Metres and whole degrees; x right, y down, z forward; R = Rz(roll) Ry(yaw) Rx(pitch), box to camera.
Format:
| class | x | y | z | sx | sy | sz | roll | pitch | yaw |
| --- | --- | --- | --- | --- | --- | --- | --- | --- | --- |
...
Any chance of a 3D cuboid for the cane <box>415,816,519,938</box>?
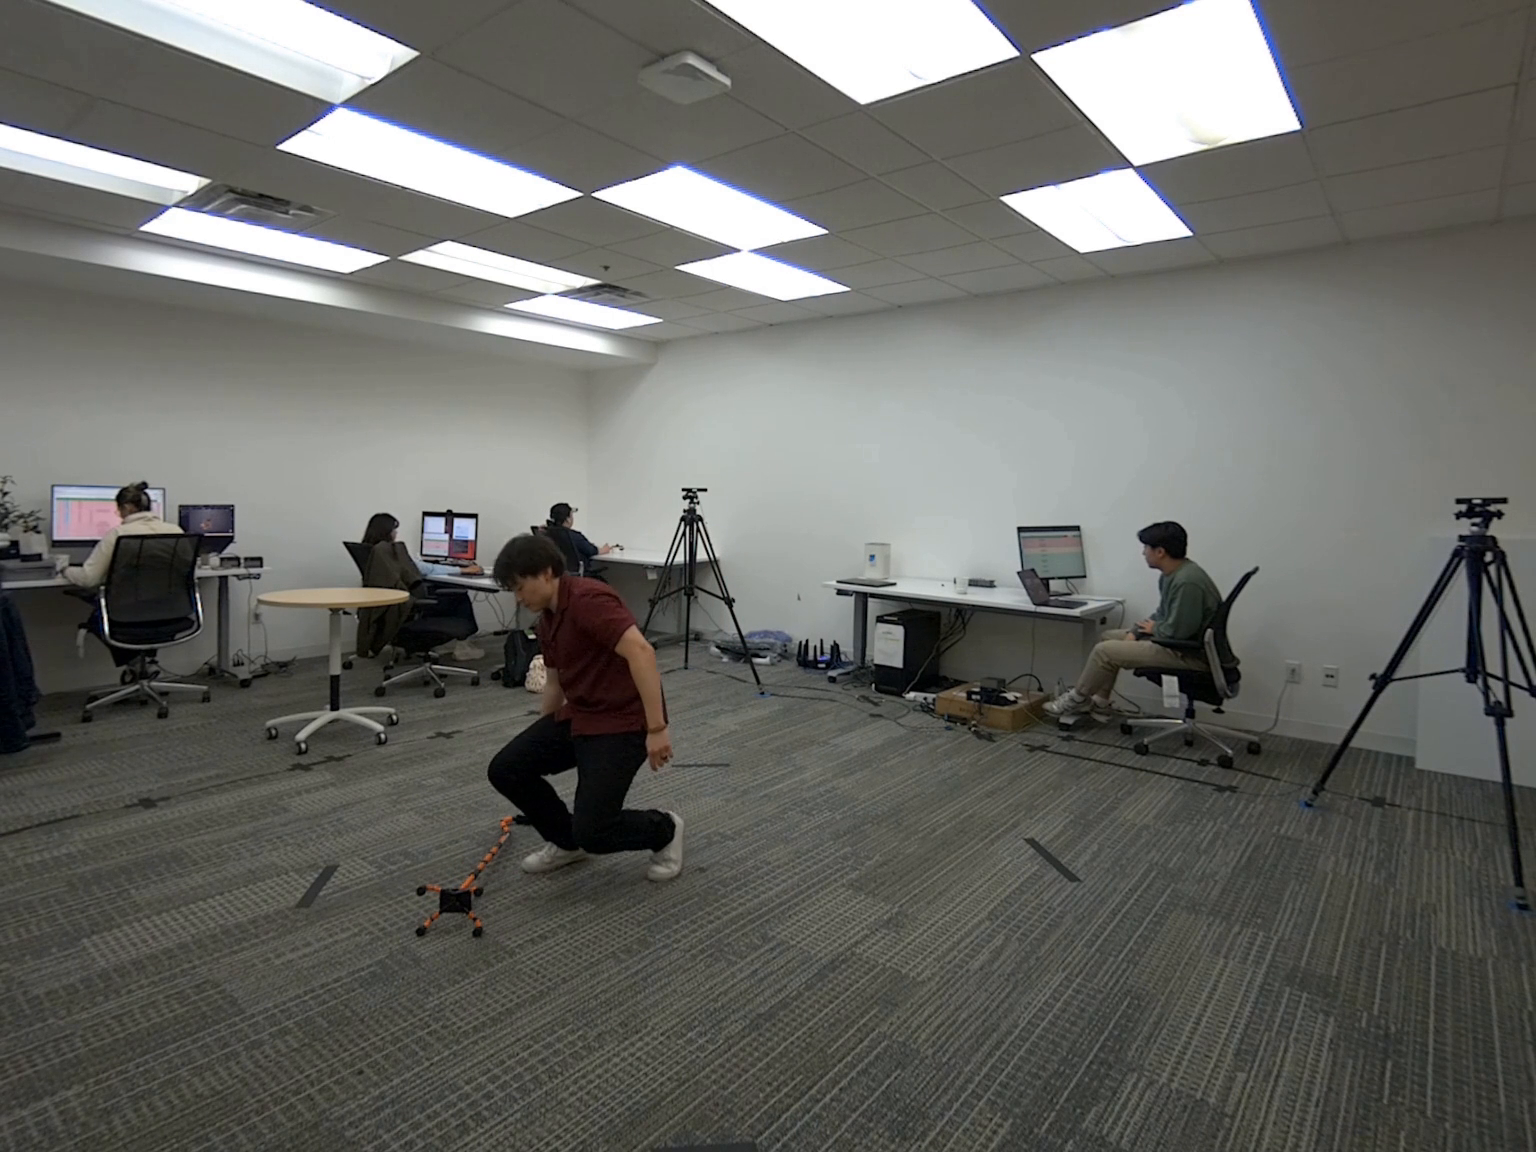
| class | x | y | z | sx | sy | sz | roll | pitch | yaw |
| --- | --- | --- | --- | --- | --- | --- | --- | --- | --- |
| cane | -1.013 | 1.015 | 3.068 | 0.206 | 0.151 | 0.909 | 1 | 2 | -3 |
